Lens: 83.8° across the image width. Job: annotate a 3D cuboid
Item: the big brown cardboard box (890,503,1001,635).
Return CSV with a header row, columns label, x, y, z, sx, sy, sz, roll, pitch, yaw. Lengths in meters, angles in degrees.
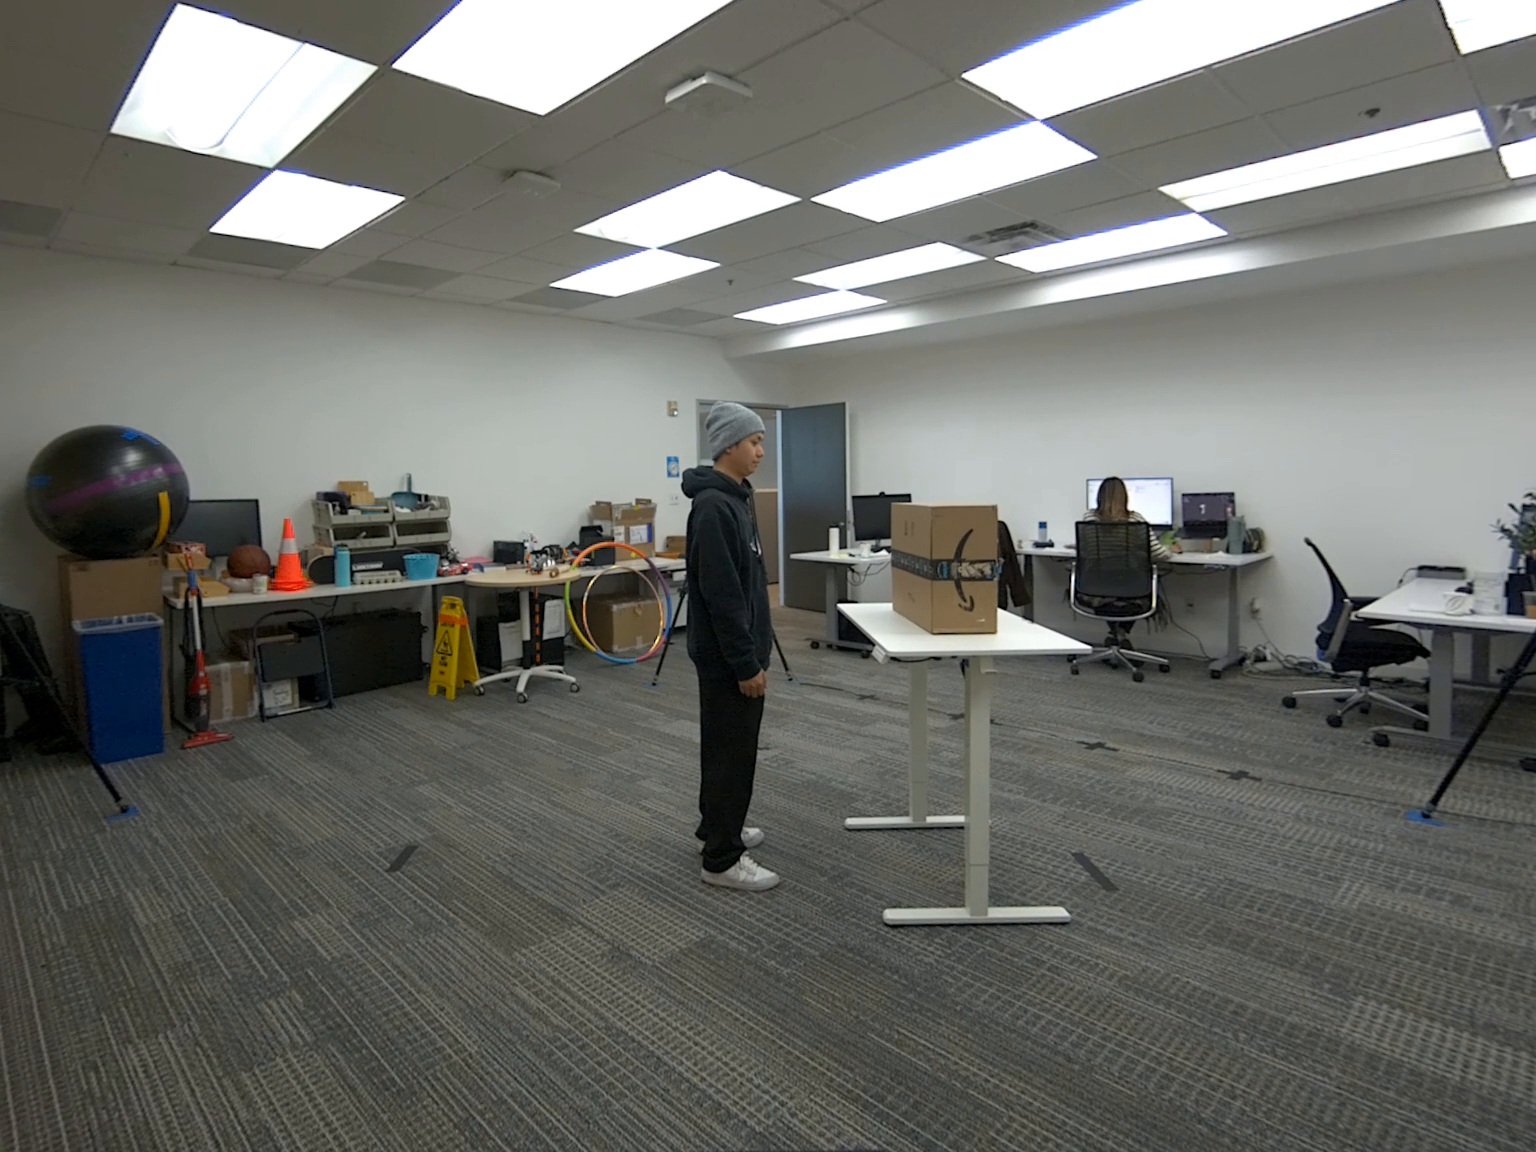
label,x,y,z,sx,sy,sz,roll,pitch,yaw
big brown cardboard box,0.607,-0.048,3.018,0.232,0.416,0.593,-1,5,-5
